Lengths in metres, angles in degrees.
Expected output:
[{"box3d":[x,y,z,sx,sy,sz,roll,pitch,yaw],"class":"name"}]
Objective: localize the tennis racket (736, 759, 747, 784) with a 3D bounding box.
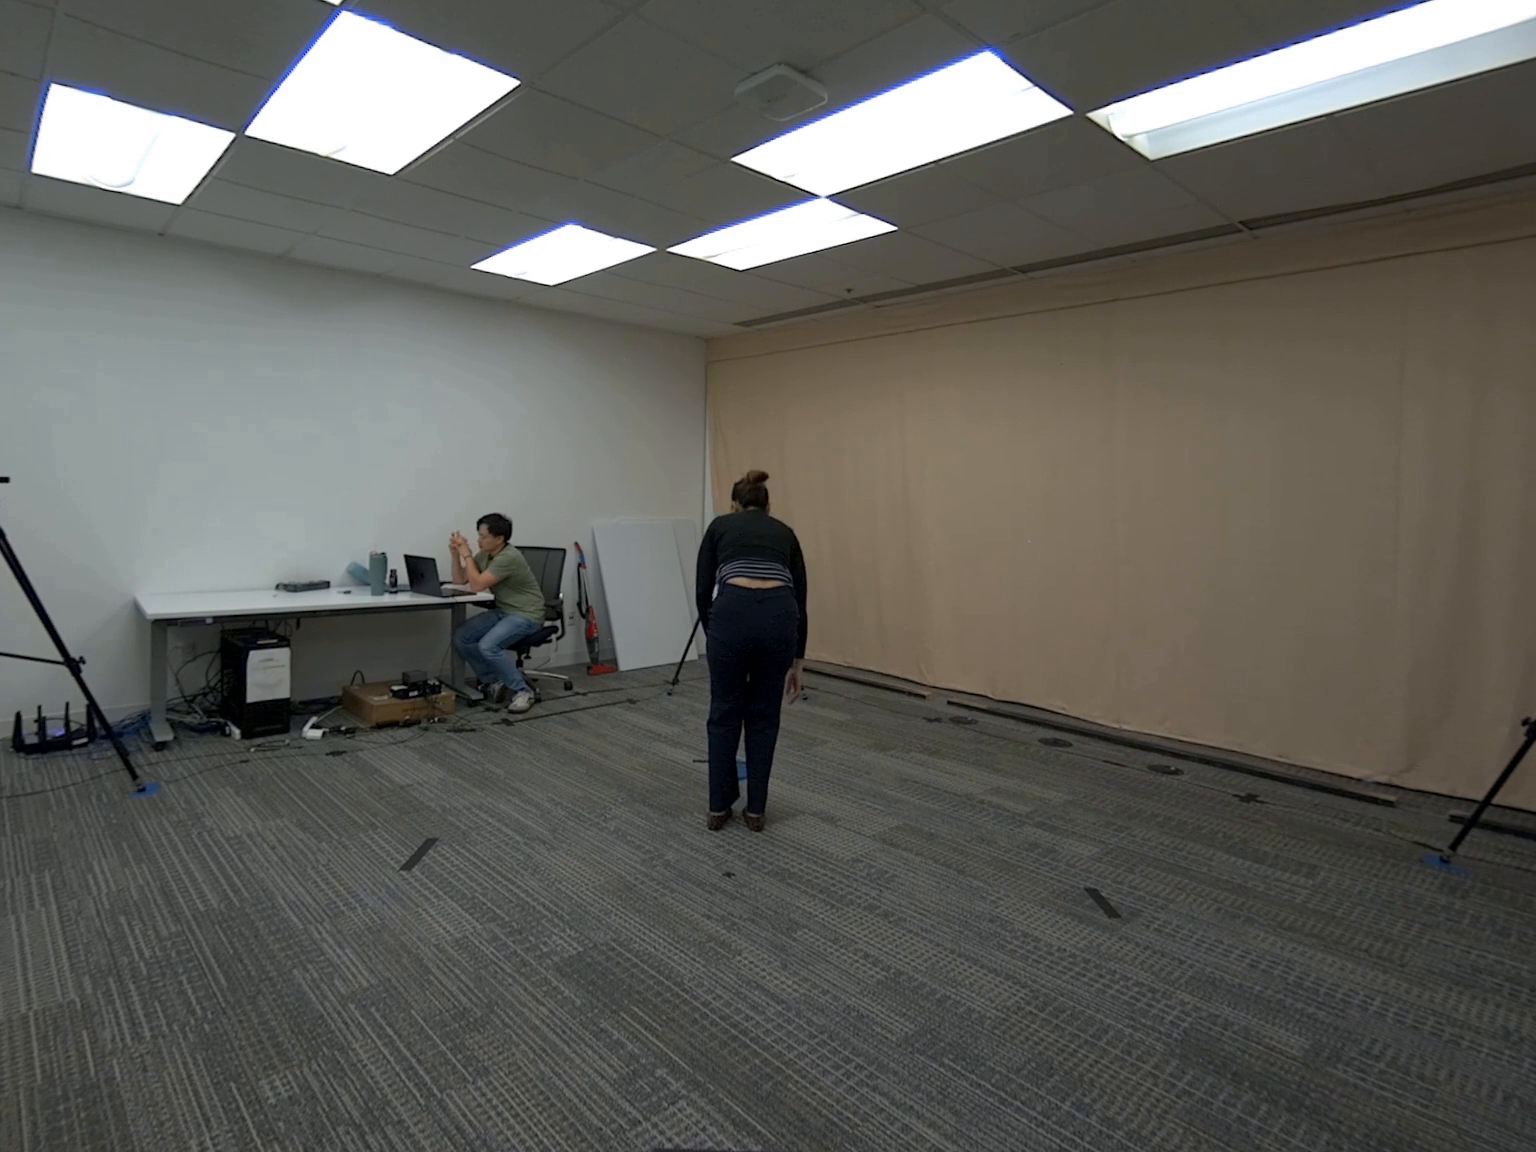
[{"box3d":[-0.189,1.003,4.209,0.214,0.032,0.433,2,4,1],"class":"tennis racket"}]
